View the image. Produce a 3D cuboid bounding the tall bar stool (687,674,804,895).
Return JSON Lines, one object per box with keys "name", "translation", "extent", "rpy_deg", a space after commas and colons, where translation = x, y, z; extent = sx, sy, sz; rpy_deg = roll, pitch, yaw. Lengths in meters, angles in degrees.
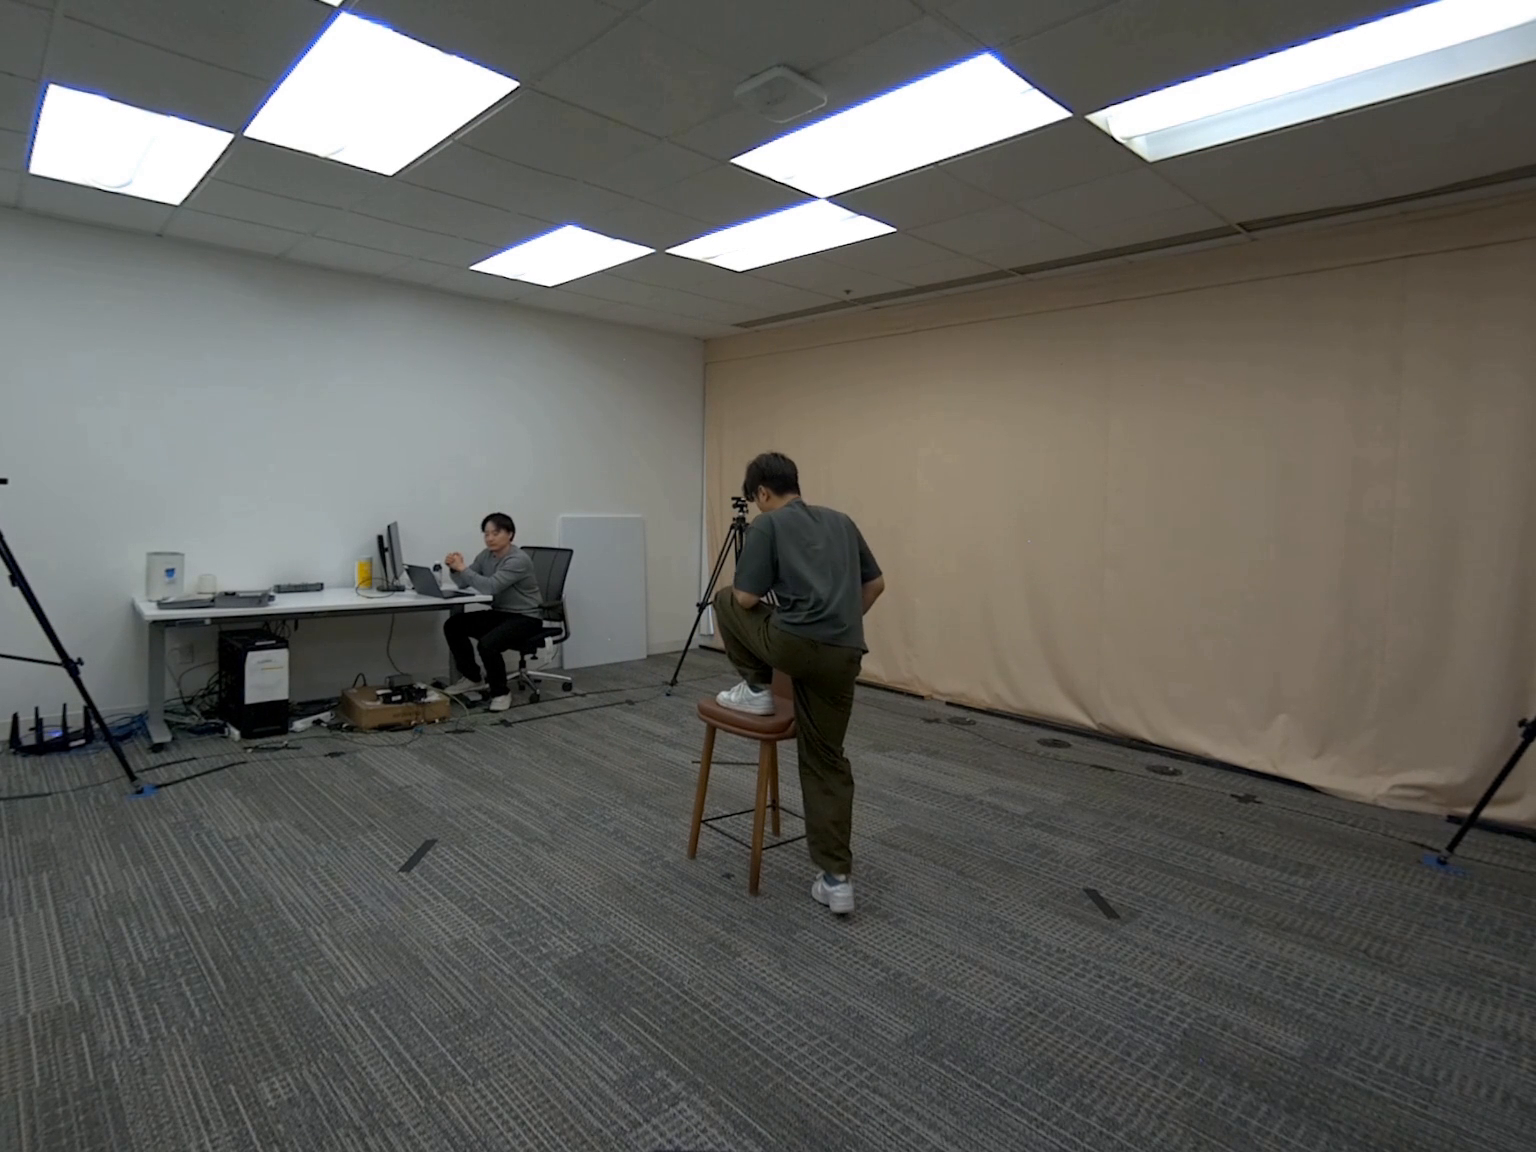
{"name": "tall bar stool", "translation": [-0.006, 0.662, 3.228], "extent": [0.456, 0.889, 0.468], "rpy_deg": [2, 2, -39]}
